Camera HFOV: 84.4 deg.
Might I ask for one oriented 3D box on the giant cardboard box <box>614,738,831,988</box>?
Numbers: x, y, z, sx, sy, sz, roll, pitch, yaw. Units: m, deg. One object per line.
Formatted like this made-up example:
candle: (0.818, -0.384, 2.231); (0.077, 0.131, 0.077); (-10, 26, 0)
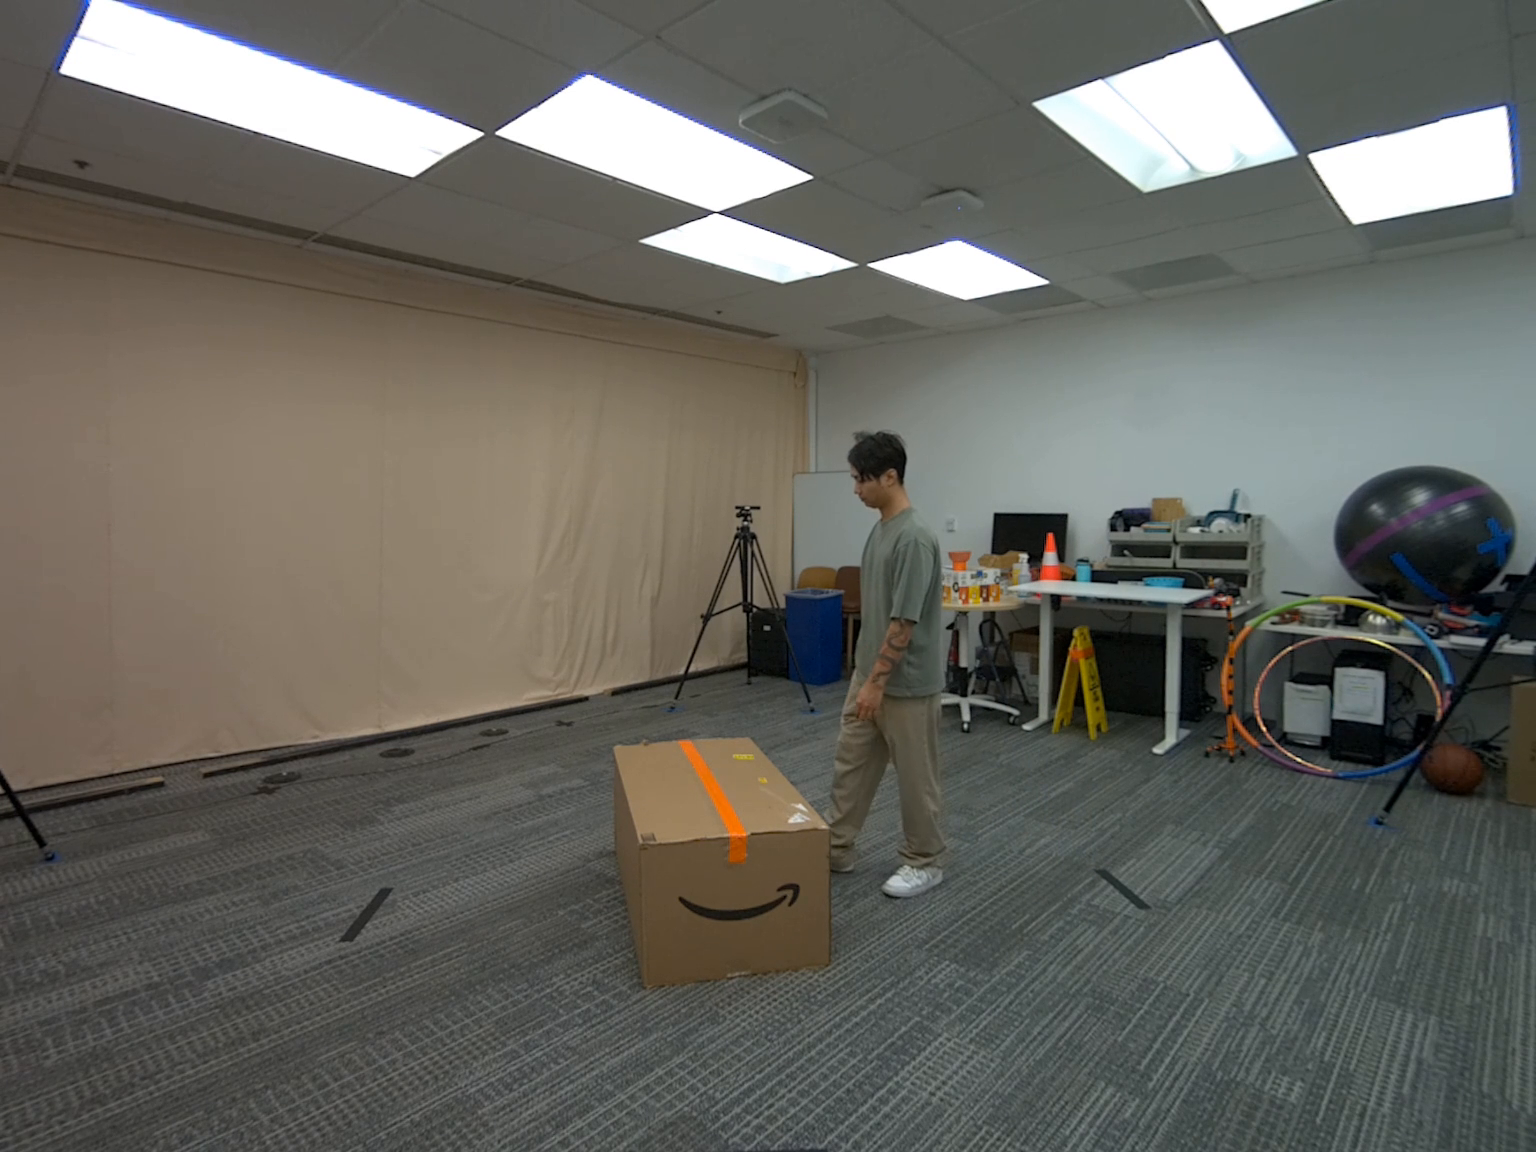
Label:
giant cardboard box: (-0.218, 0.929, 2.974); (0.569, 0.425, 1.043); (-1, 4, -14)
